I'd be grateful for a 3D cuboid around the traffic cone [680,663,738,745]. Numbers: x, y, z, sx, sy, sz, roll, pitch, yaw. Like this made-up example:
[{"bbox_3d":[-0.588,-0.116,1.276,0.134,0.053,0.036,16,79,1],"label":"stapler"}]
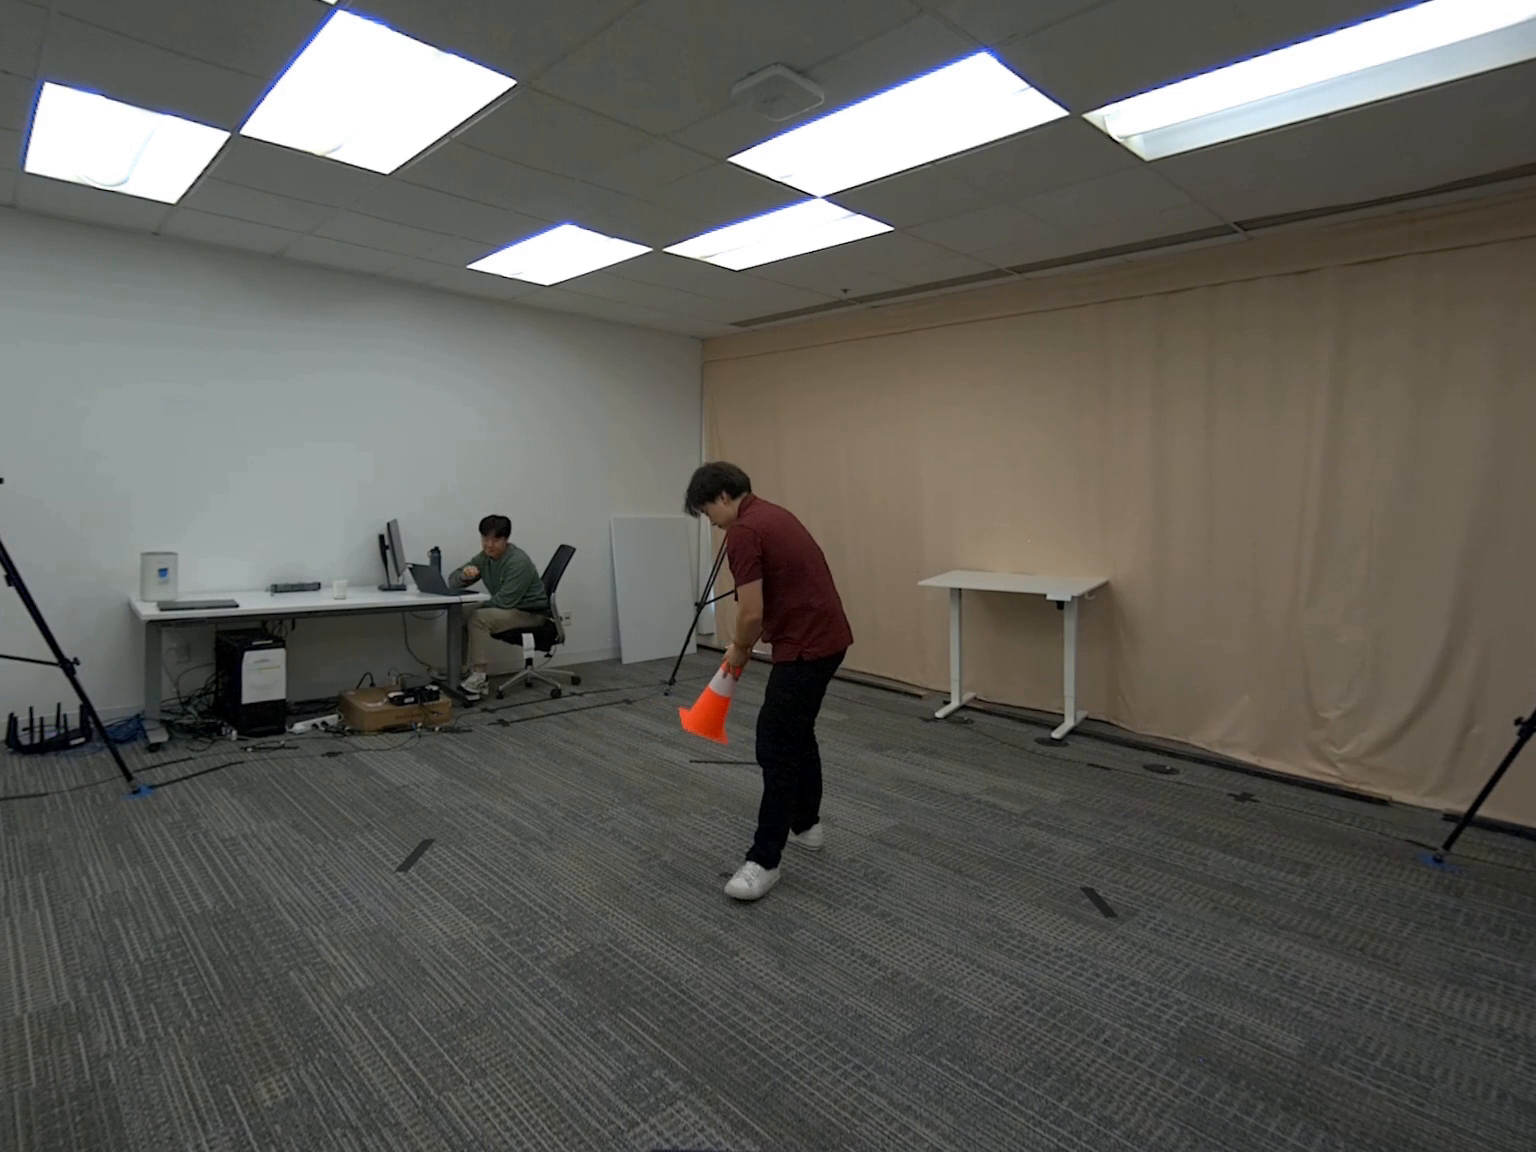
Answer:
[{"bbox_3d":[-0.188,0.439,3.370,0.200,0.382,0.209,22,11,-16],"label":"traffic cone"}]
